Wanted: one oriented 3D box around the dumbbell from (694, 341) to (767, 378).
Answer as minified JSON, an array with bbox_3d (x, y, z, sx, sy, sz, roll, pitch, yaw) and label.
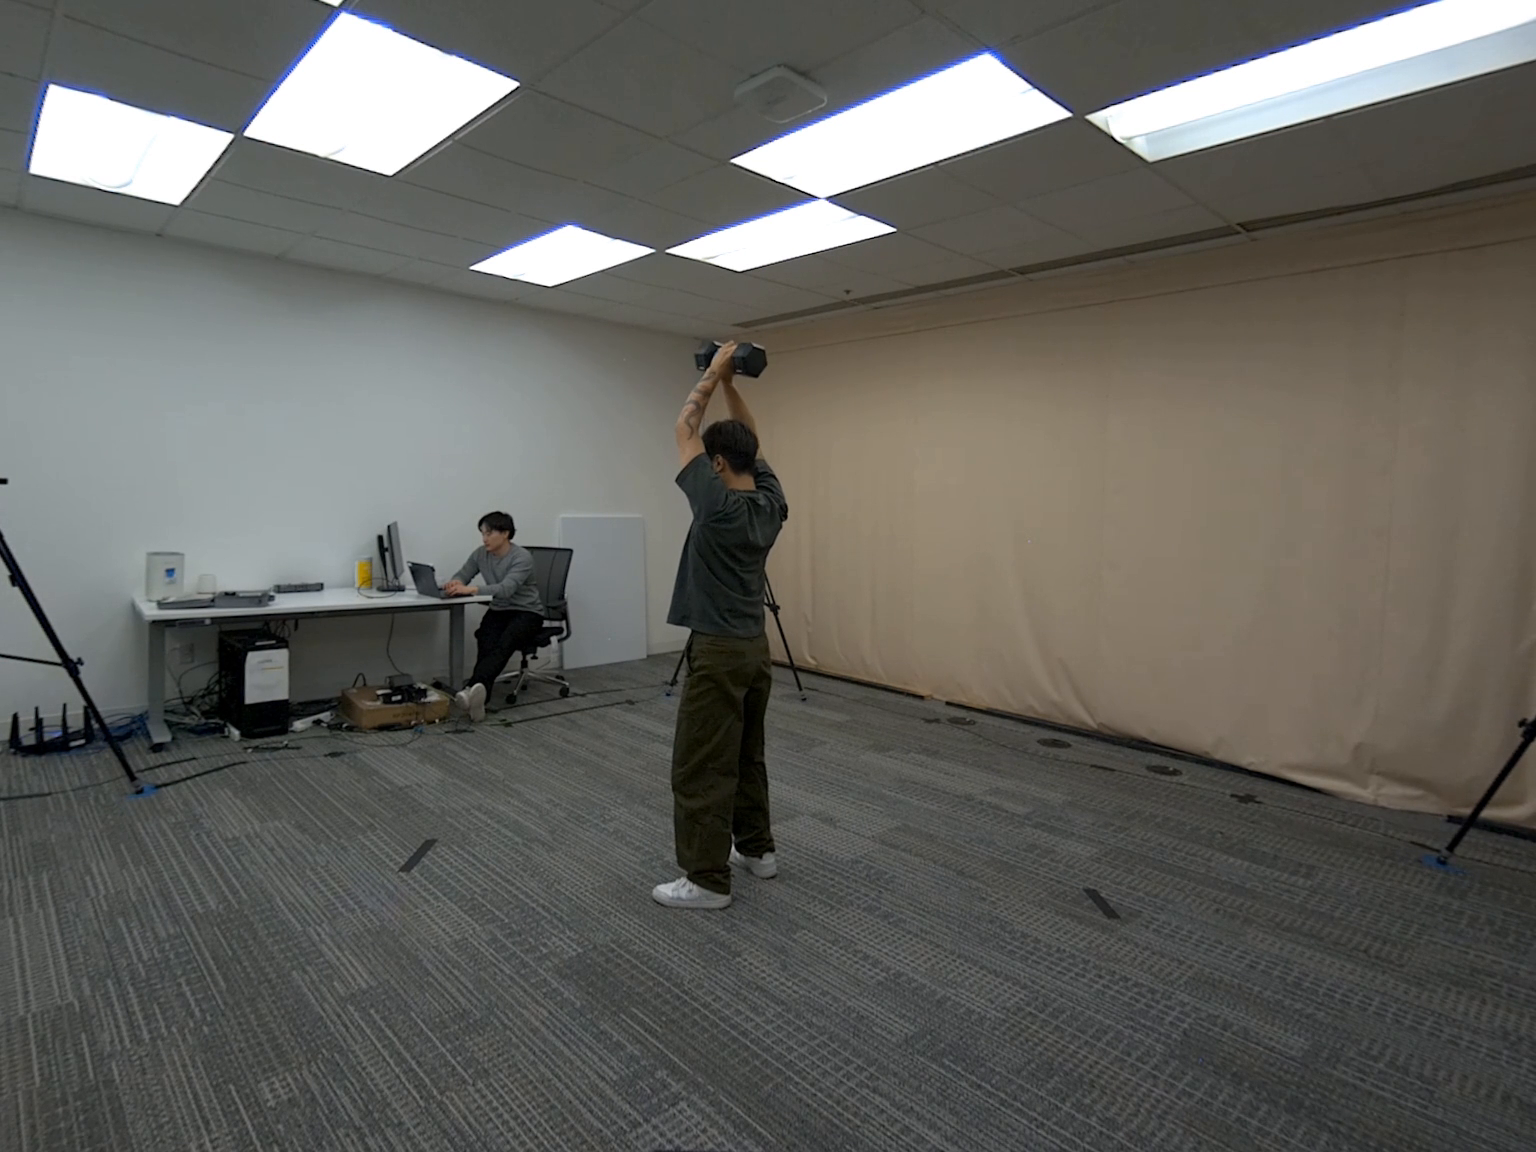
[{"bbox_3d":[-0.144,-0.762,2.944,0.108,0.120,0.302,-30,31,-31],"label":"dumbbell"}]
